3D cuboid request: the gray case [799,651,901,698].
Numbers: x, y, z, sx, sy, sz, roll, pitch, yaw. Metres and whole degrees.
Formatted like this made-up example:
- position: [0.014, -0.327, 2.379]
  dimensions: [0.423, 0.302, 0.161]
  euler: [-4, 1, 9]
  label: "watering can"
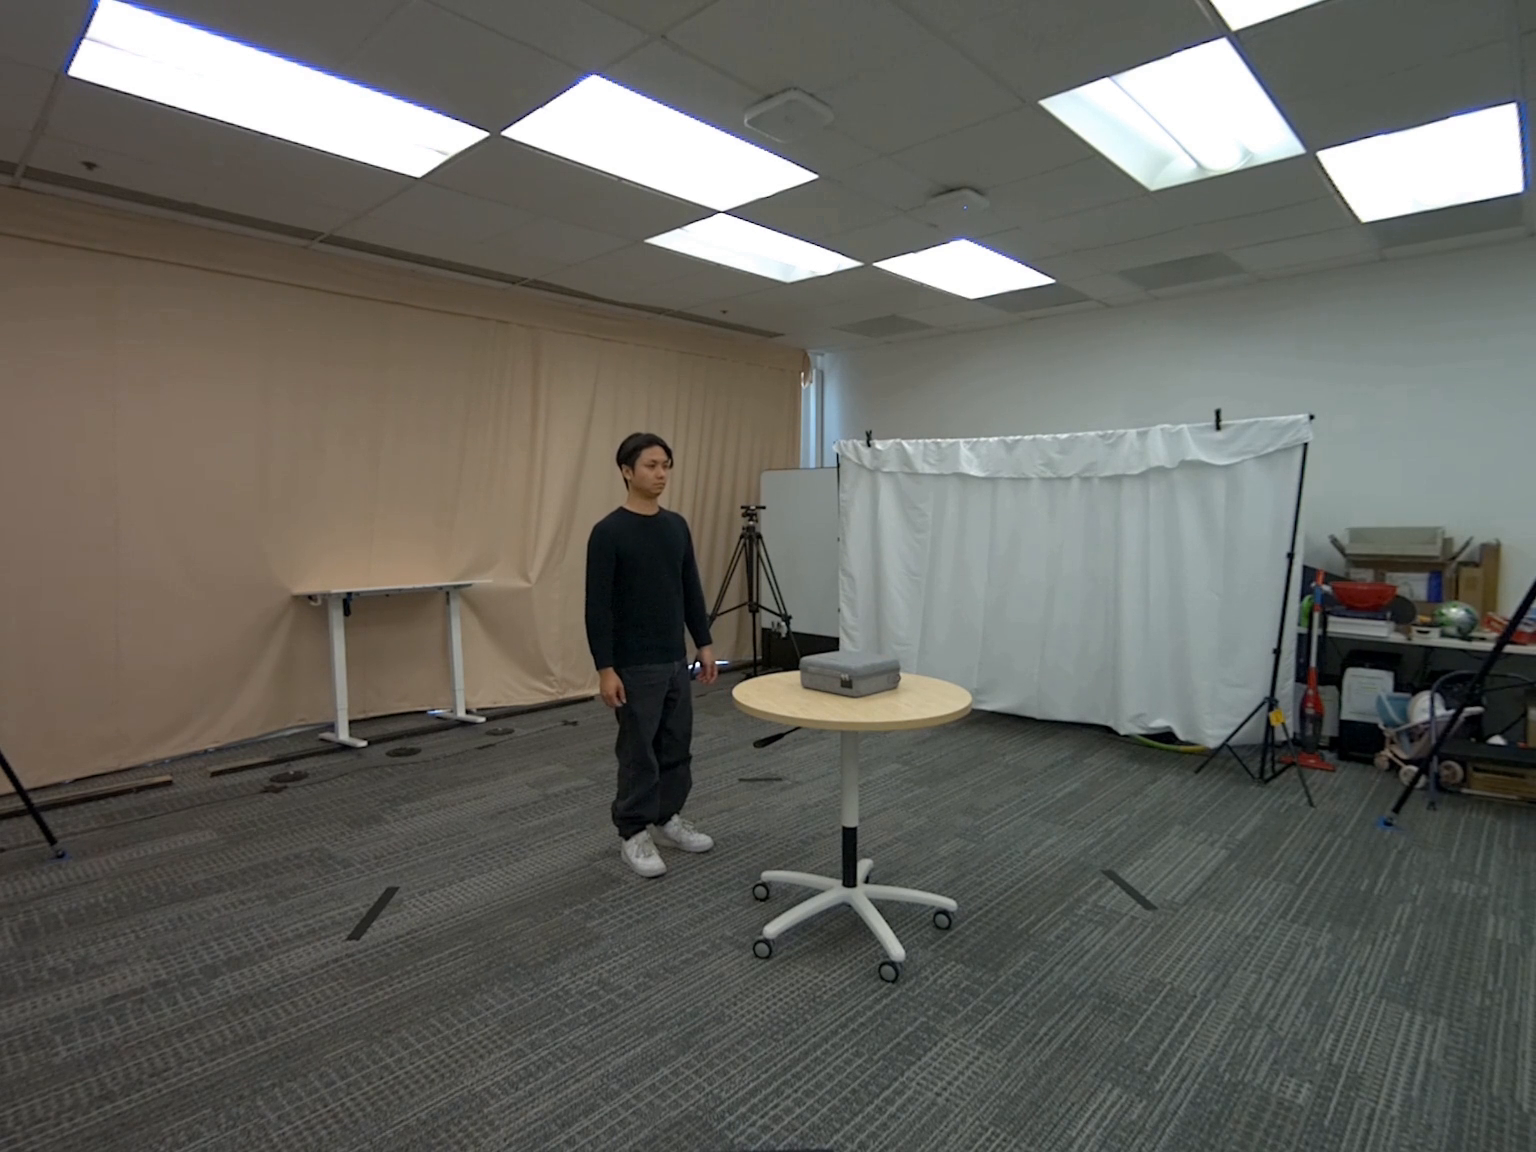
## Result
- position: [0.279, 0.319, 2.813]
  dimensions: [0.252, 0.104, 0.265]
  euler: [-4, 5, -44]
  label: "gray case"
